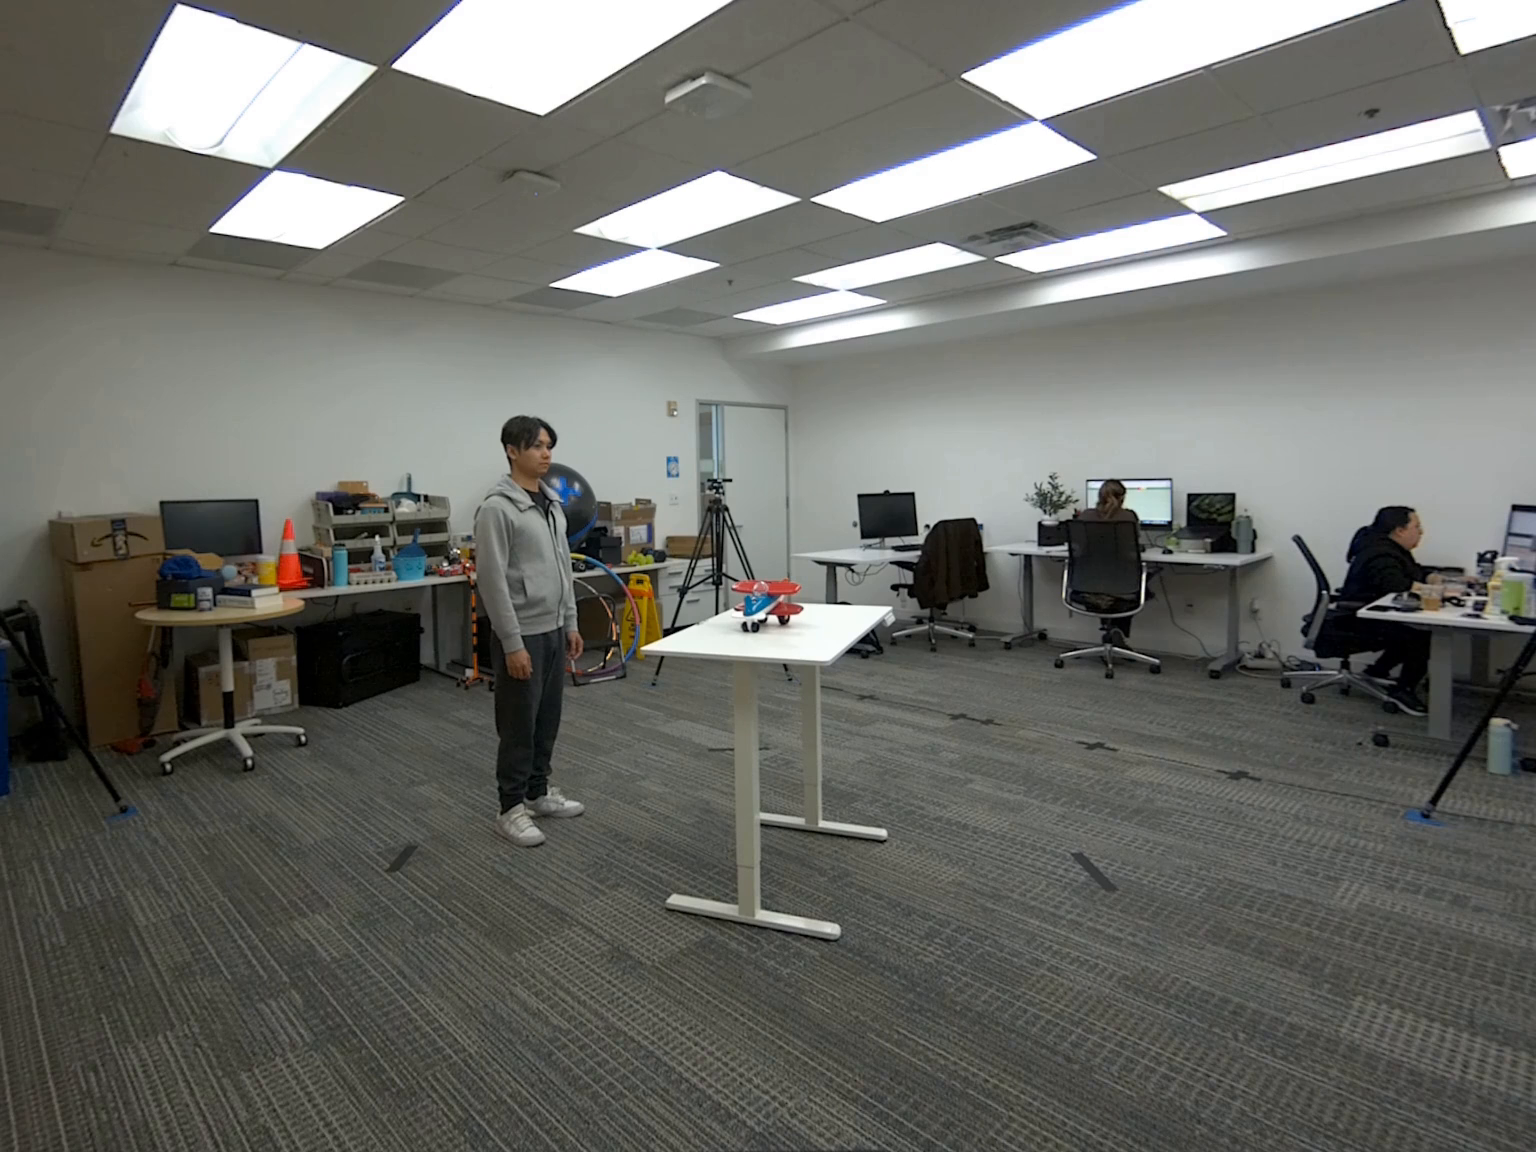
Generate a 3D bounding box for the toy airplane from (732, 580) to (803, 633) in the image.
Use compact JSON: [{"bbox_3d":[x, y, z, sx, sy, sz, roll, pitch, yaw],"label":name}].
[{"bbox_3d":[0.000,0.101,2.962,0.251,0.156,0.261,-3,5,-2],"label":"toy airplane"}]
